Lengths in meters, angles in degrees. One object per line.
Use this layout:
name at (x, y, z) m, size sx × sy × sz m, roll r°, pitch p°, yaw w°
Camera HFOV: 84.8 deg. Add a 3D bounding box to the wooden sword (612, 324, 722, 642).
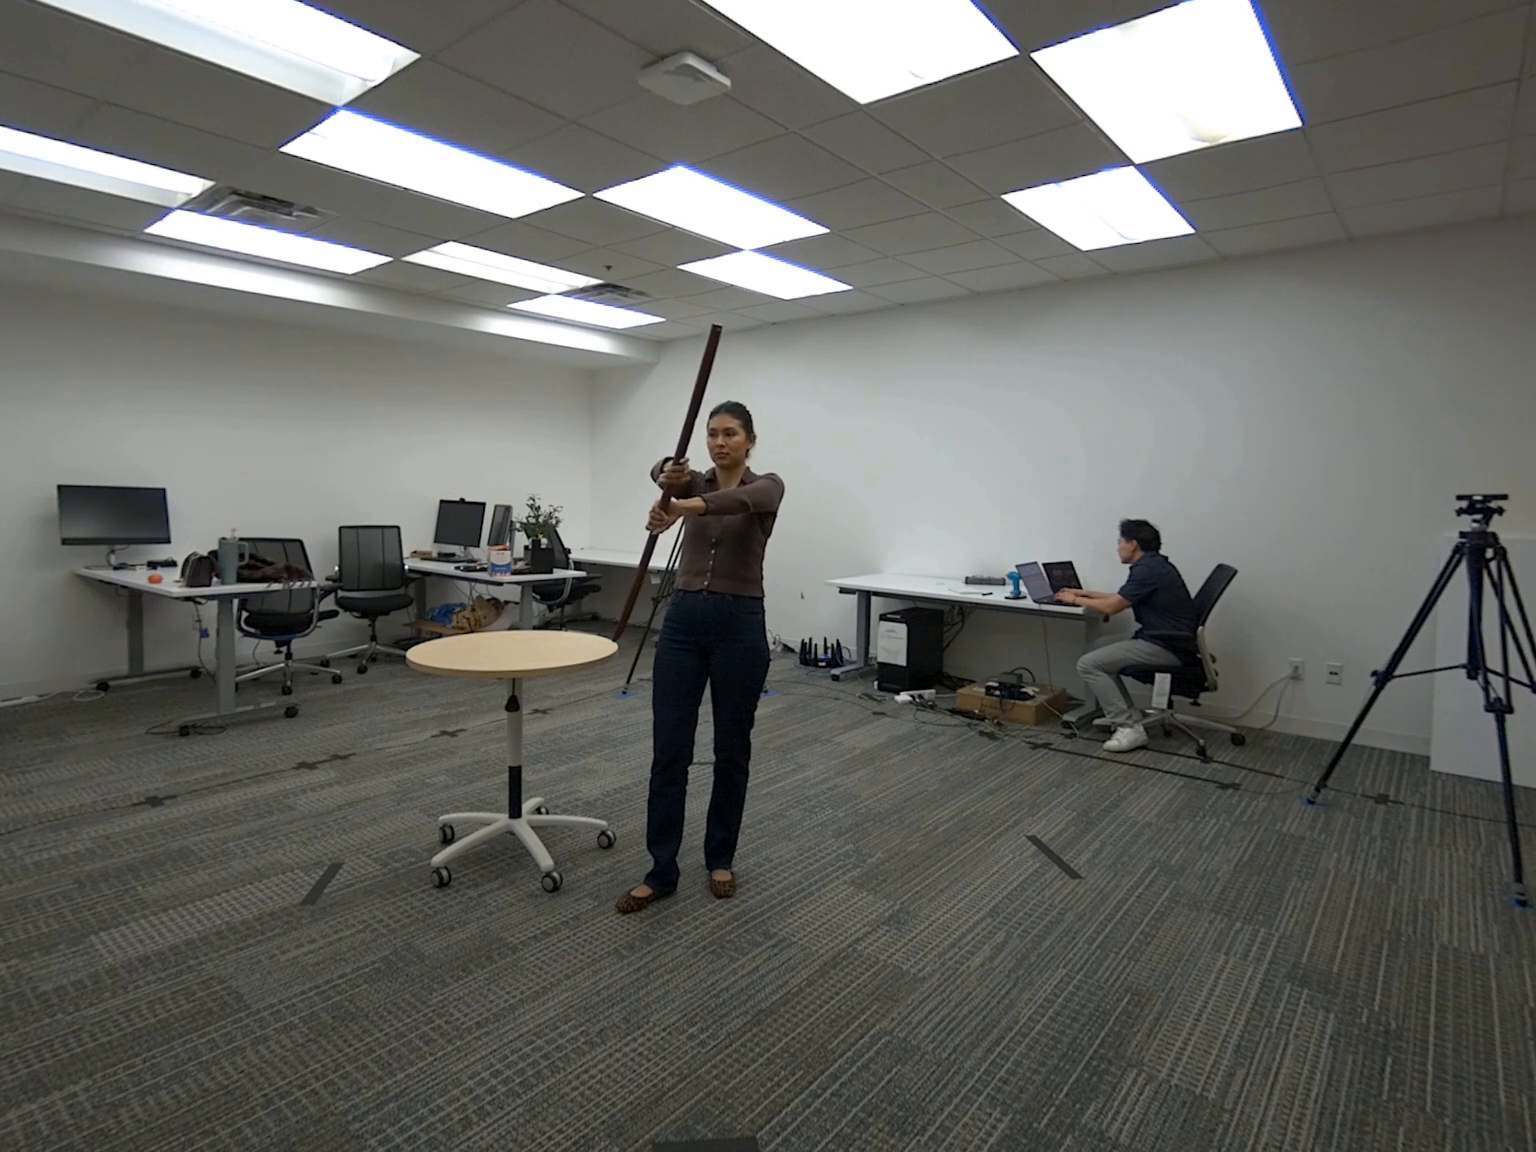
wooden sword at (-0.314, -0.232, 2.450) m, size 0.050 × 1.012 × 0.025 m, roll 12°, pitch 26°, yaw -19°
